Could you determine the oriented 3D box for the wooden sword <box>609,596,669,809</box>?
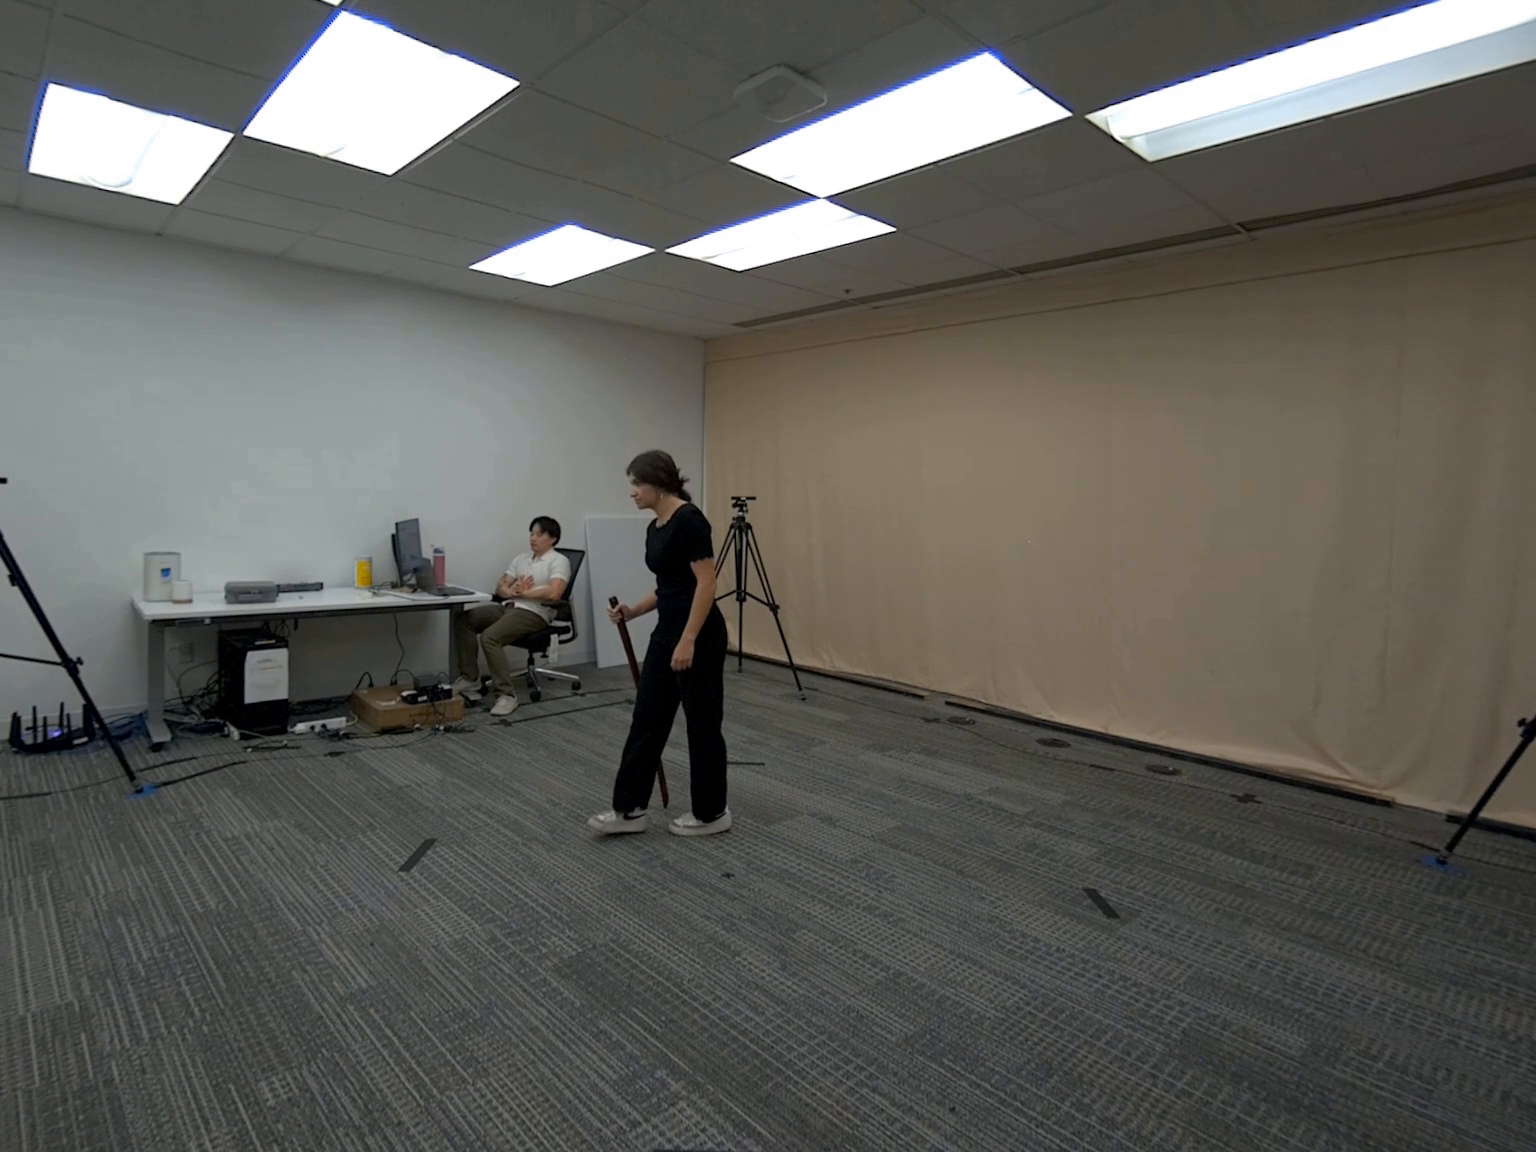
[{"bbox_3d":[-0.543,0.579,3.641,0.052,1.009,0.024,-7,18,15],"label":"wooden sword"}]
